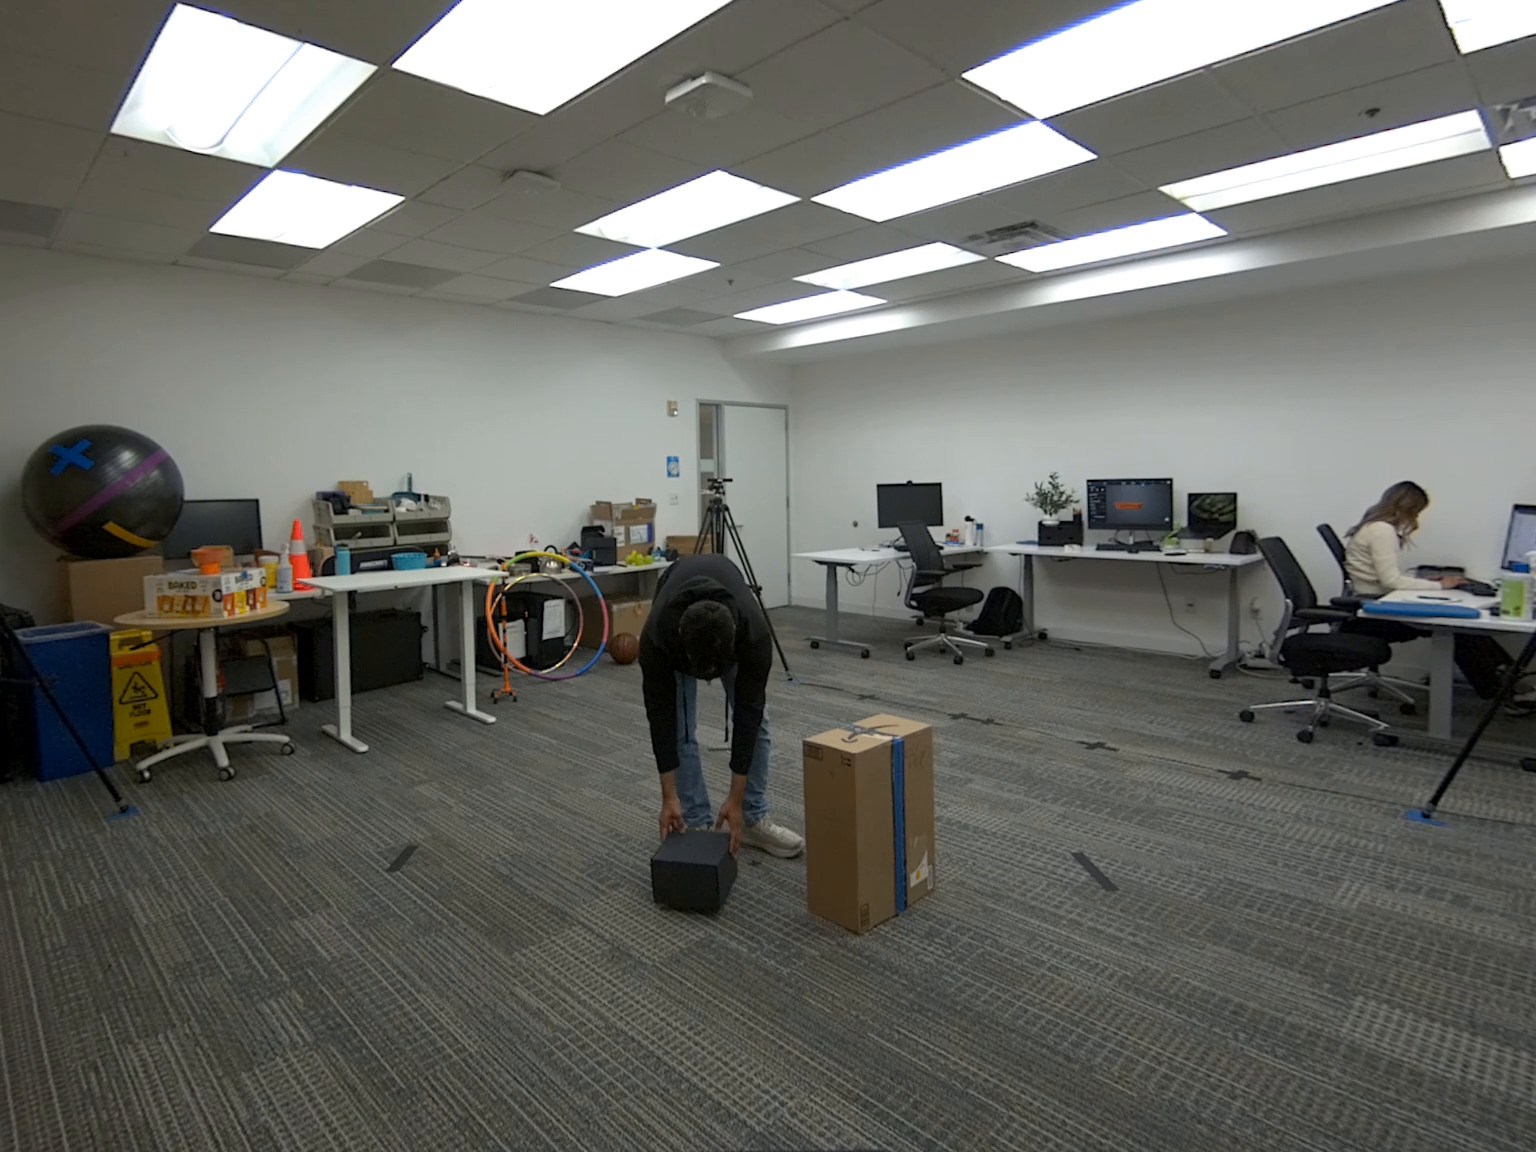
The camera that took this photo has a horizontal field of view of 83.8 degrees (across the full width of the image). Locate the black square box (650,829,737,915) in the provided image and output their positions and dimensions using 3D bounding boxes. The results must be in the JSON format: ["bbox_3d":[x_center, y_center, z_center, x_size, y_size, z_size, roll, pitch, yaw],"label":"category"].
[{"bbox_3d":[-0.231,0.951,2.826,0.231,0.155,0.215,-3,7,15],"label":"black square box"}]
